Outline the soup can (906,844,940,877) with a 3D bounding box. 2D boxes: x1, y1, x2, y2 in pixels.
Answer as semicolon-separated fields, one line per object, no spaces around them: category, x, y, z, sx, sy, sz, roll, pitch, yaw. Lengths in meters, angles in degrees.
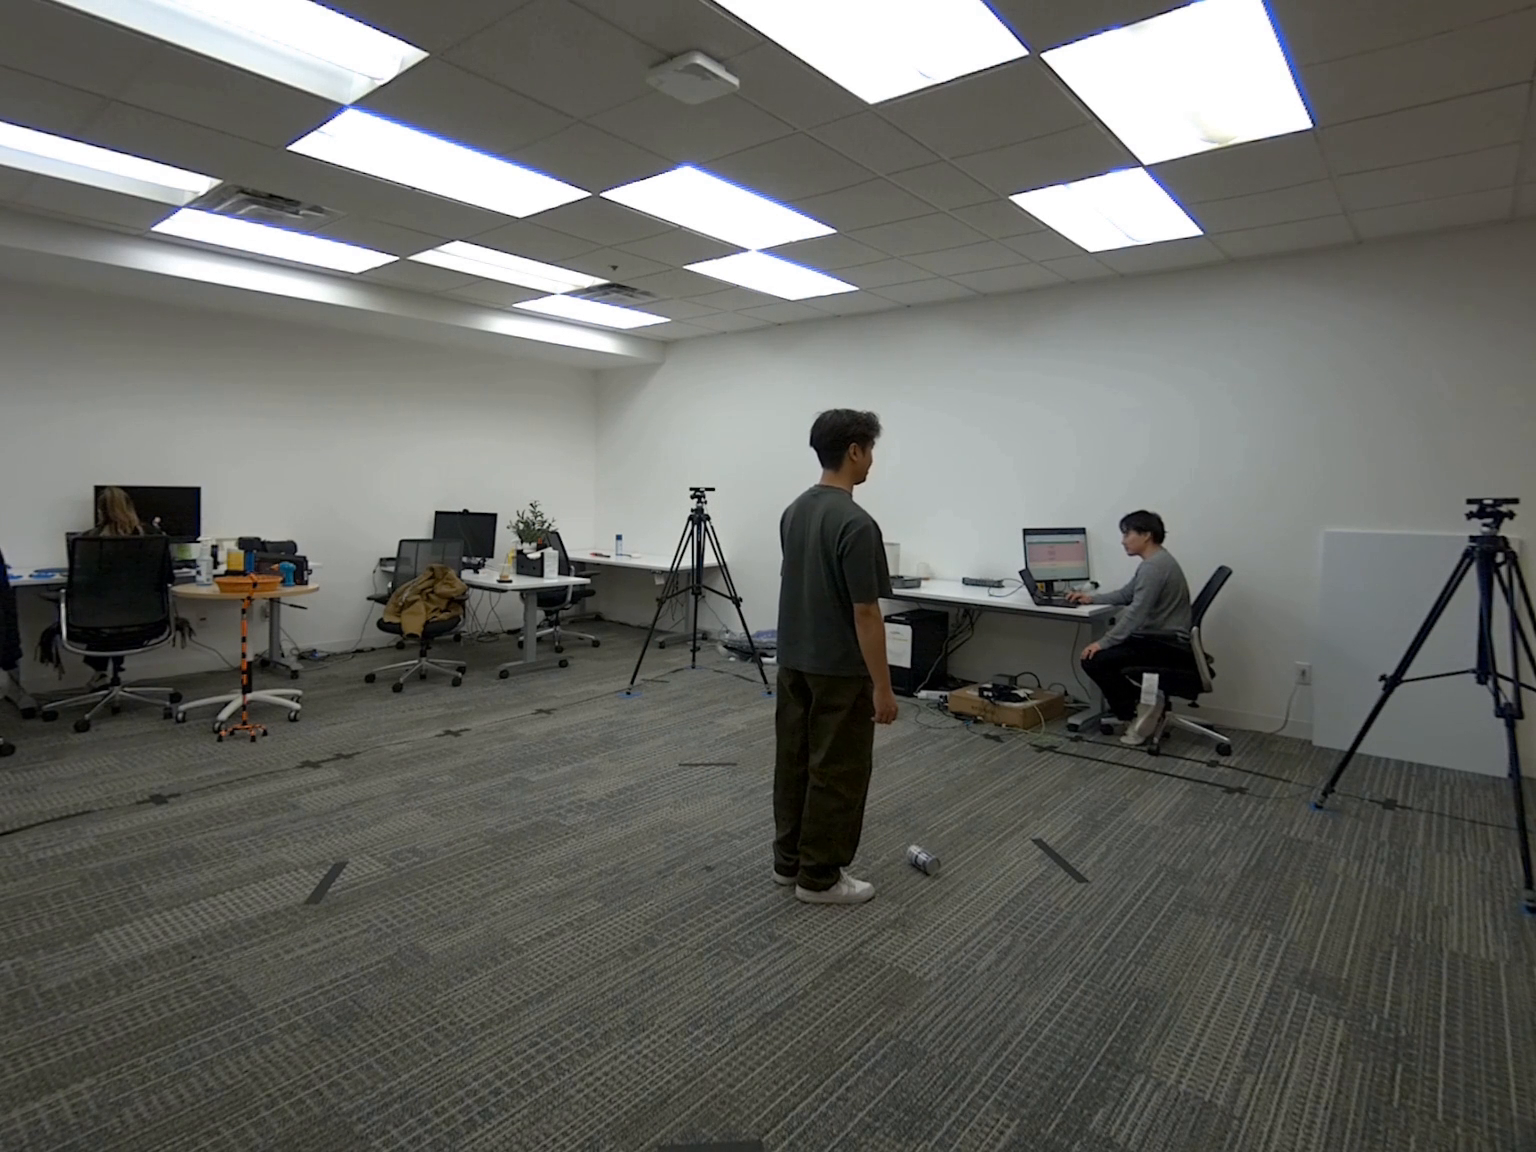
soup can;0.566;1.048;3.146;0.065;0.067;0.125;-1;8;-26
